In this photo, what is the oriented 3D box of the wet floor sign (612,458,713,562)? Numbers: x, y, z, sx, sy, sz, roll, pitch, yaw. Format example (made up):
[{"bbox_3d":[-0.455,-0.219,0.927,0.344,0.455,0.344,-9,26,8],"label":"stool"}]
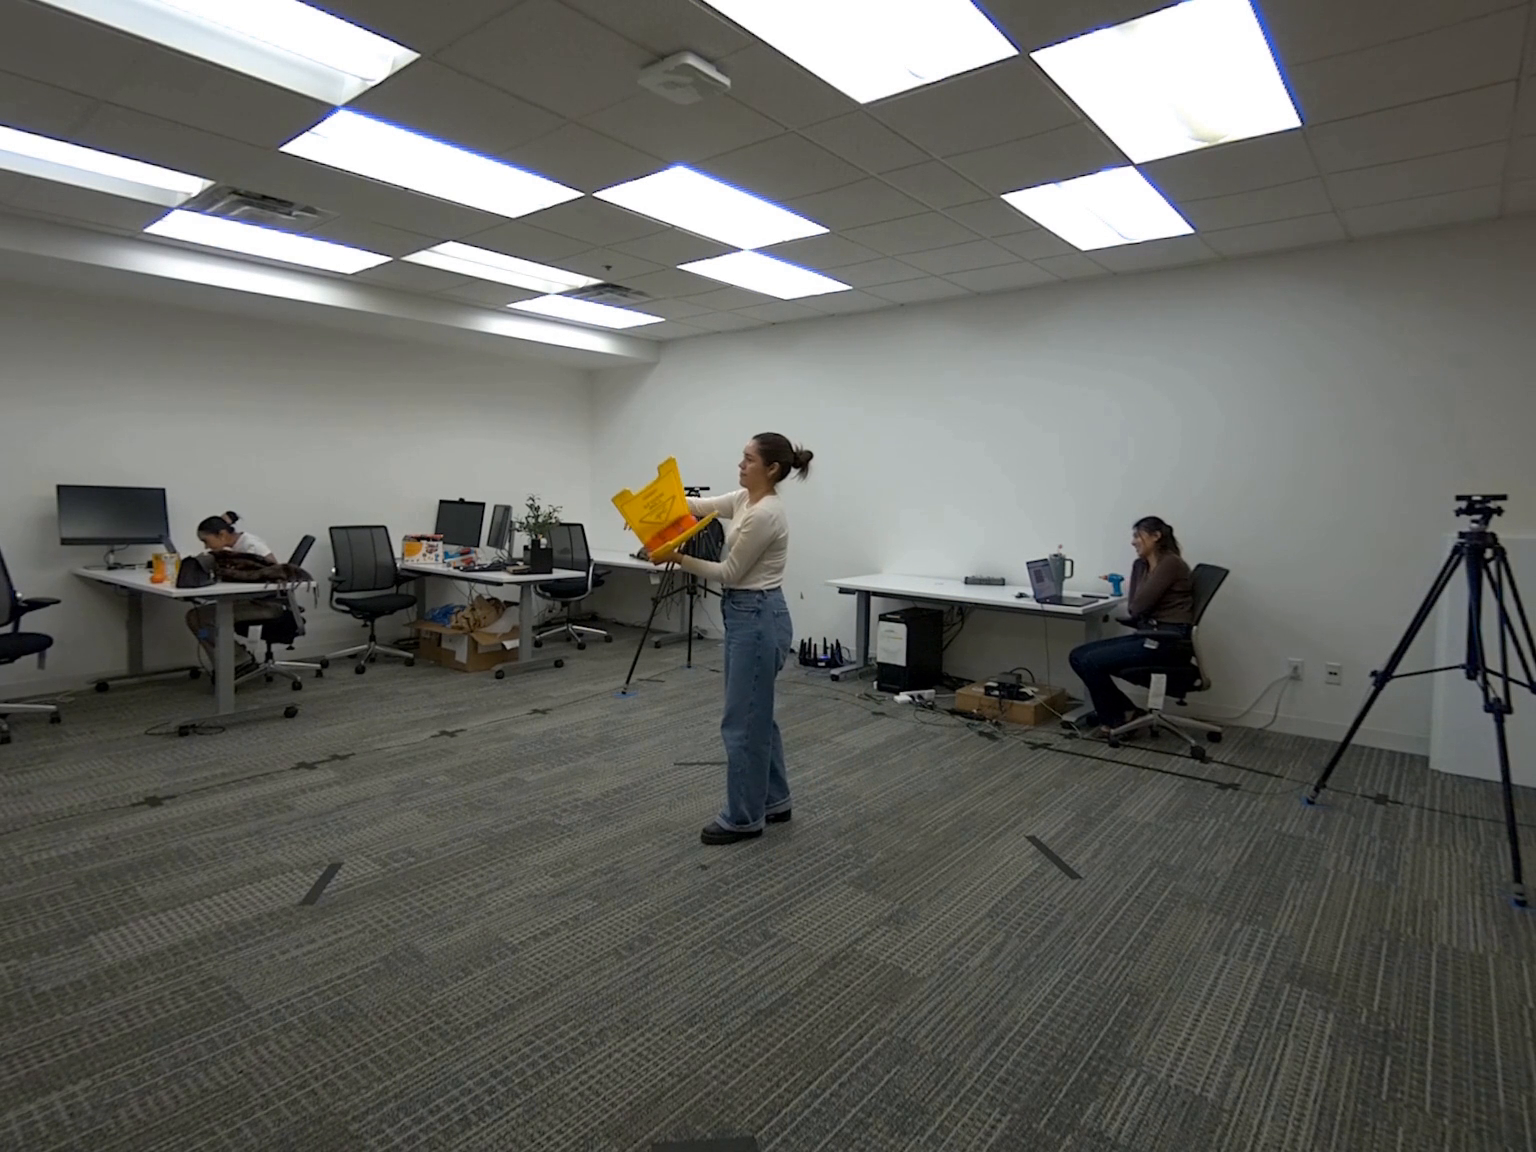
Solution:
[{"bbox_3d":[-0.401,-0.194,3.363,0.281,0.293,0.639,-36,-7,-8],"label":"wet floor sign"}]
